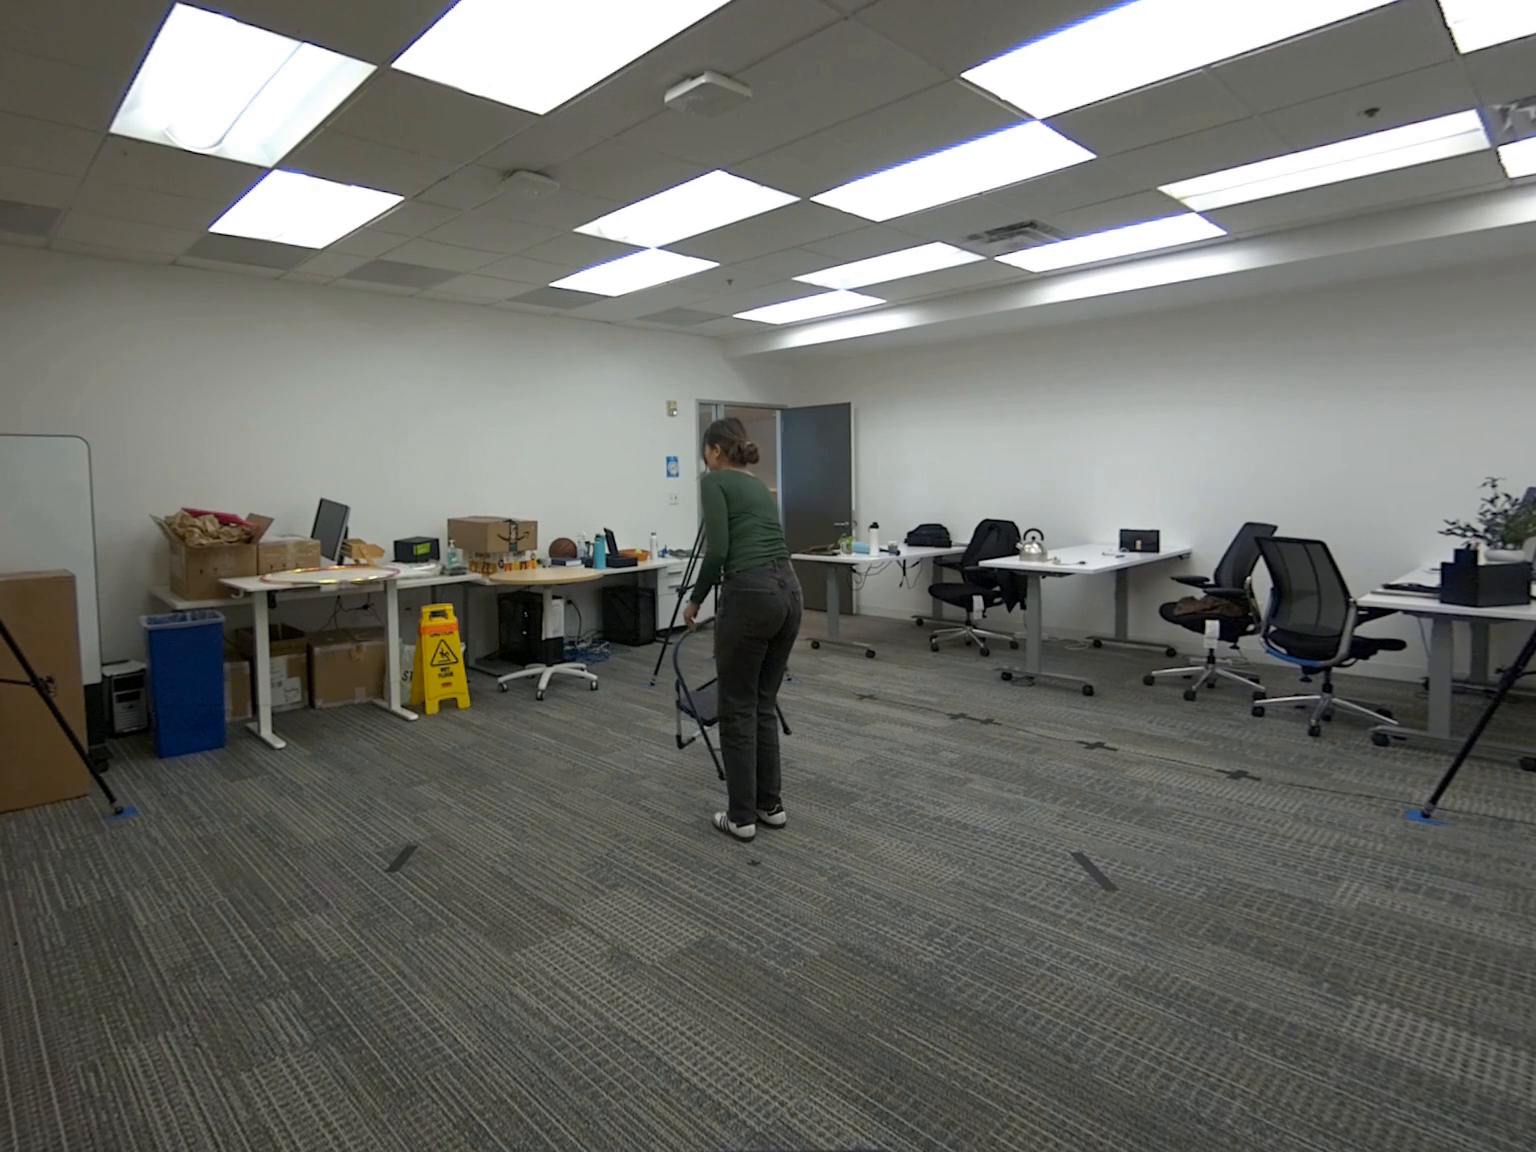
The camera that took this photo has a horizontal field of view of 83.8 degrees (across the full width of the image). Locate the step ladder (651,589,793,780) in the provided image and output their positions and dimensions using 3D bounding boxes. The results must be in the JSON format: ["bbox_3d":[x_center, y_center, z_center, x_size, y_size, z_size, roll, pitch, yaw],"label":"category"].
[{"bbox_3d":[-0.207,0.493,3.834,0.425,0.592,0.362,-27,29,-35],"label":"step ladder"}]
